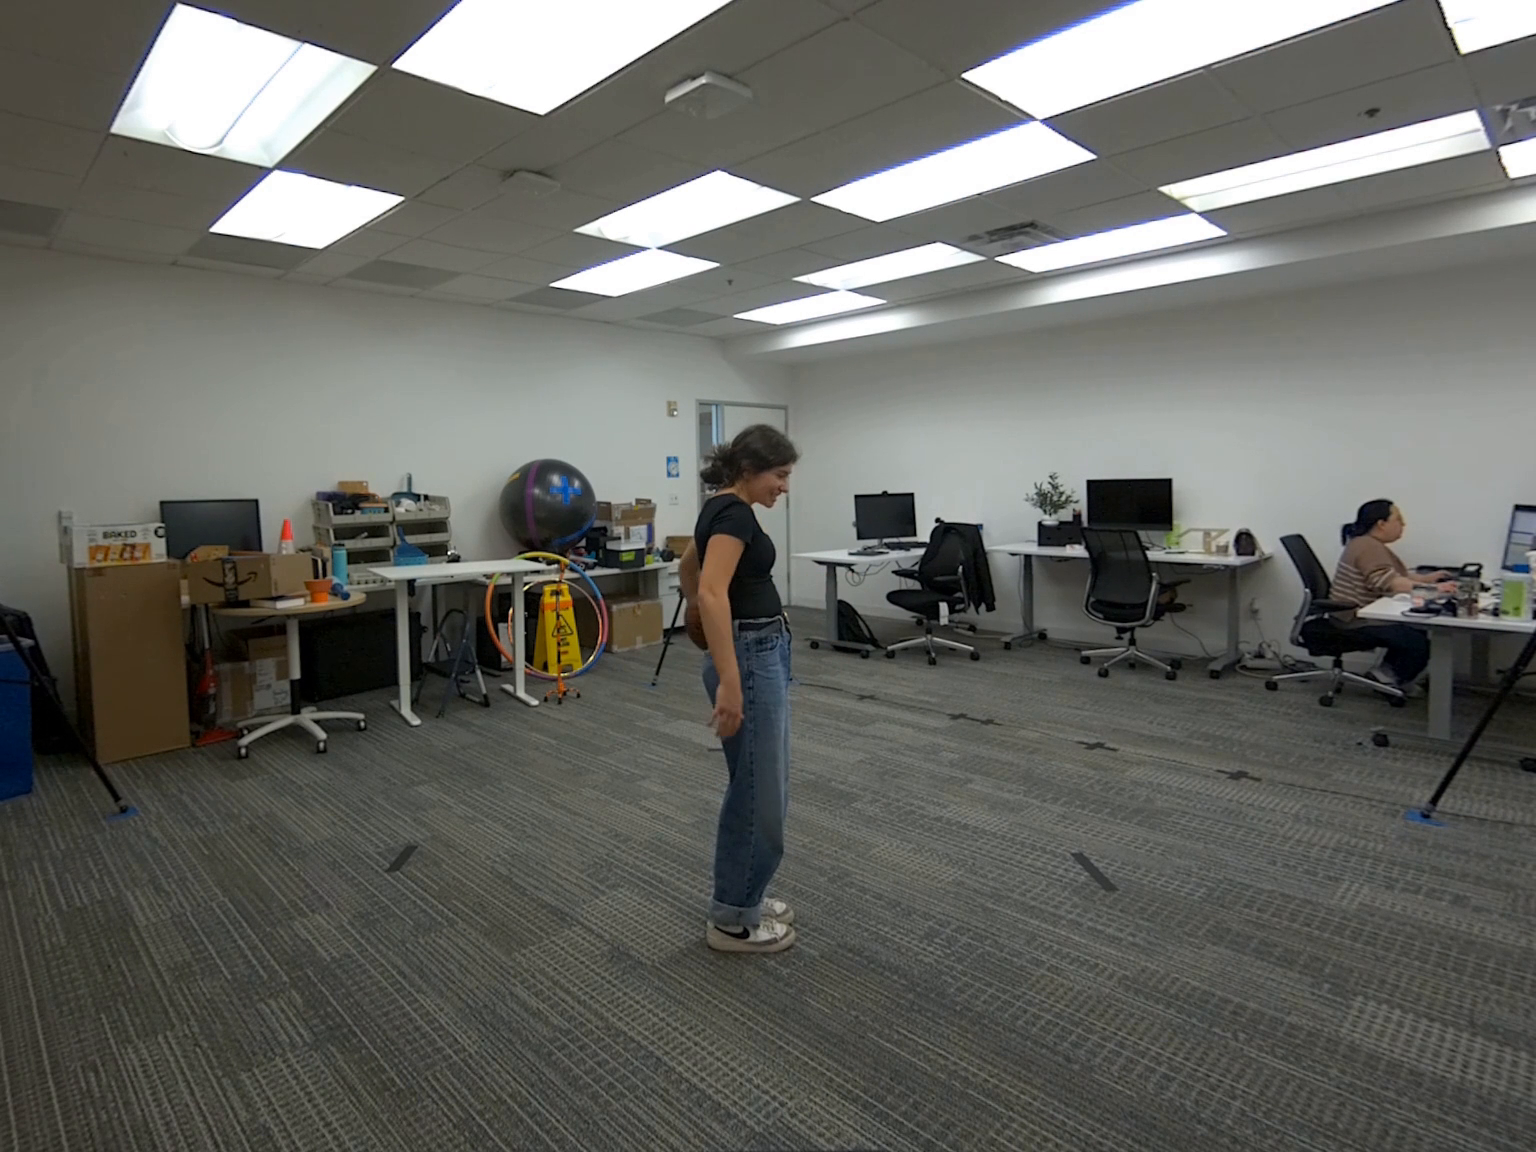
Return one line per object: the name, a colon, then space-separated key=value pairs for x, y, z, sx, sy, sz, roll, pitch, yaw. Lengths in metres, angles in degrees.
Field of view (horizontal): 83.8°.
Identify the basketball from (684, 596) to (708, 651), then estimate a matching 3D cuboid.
basketball: x=-0.148 y=0.144 z=2.835 sx=0.236 sy=0.235 sz=0.237 roll=-1 pitch=5 yaw=-2
